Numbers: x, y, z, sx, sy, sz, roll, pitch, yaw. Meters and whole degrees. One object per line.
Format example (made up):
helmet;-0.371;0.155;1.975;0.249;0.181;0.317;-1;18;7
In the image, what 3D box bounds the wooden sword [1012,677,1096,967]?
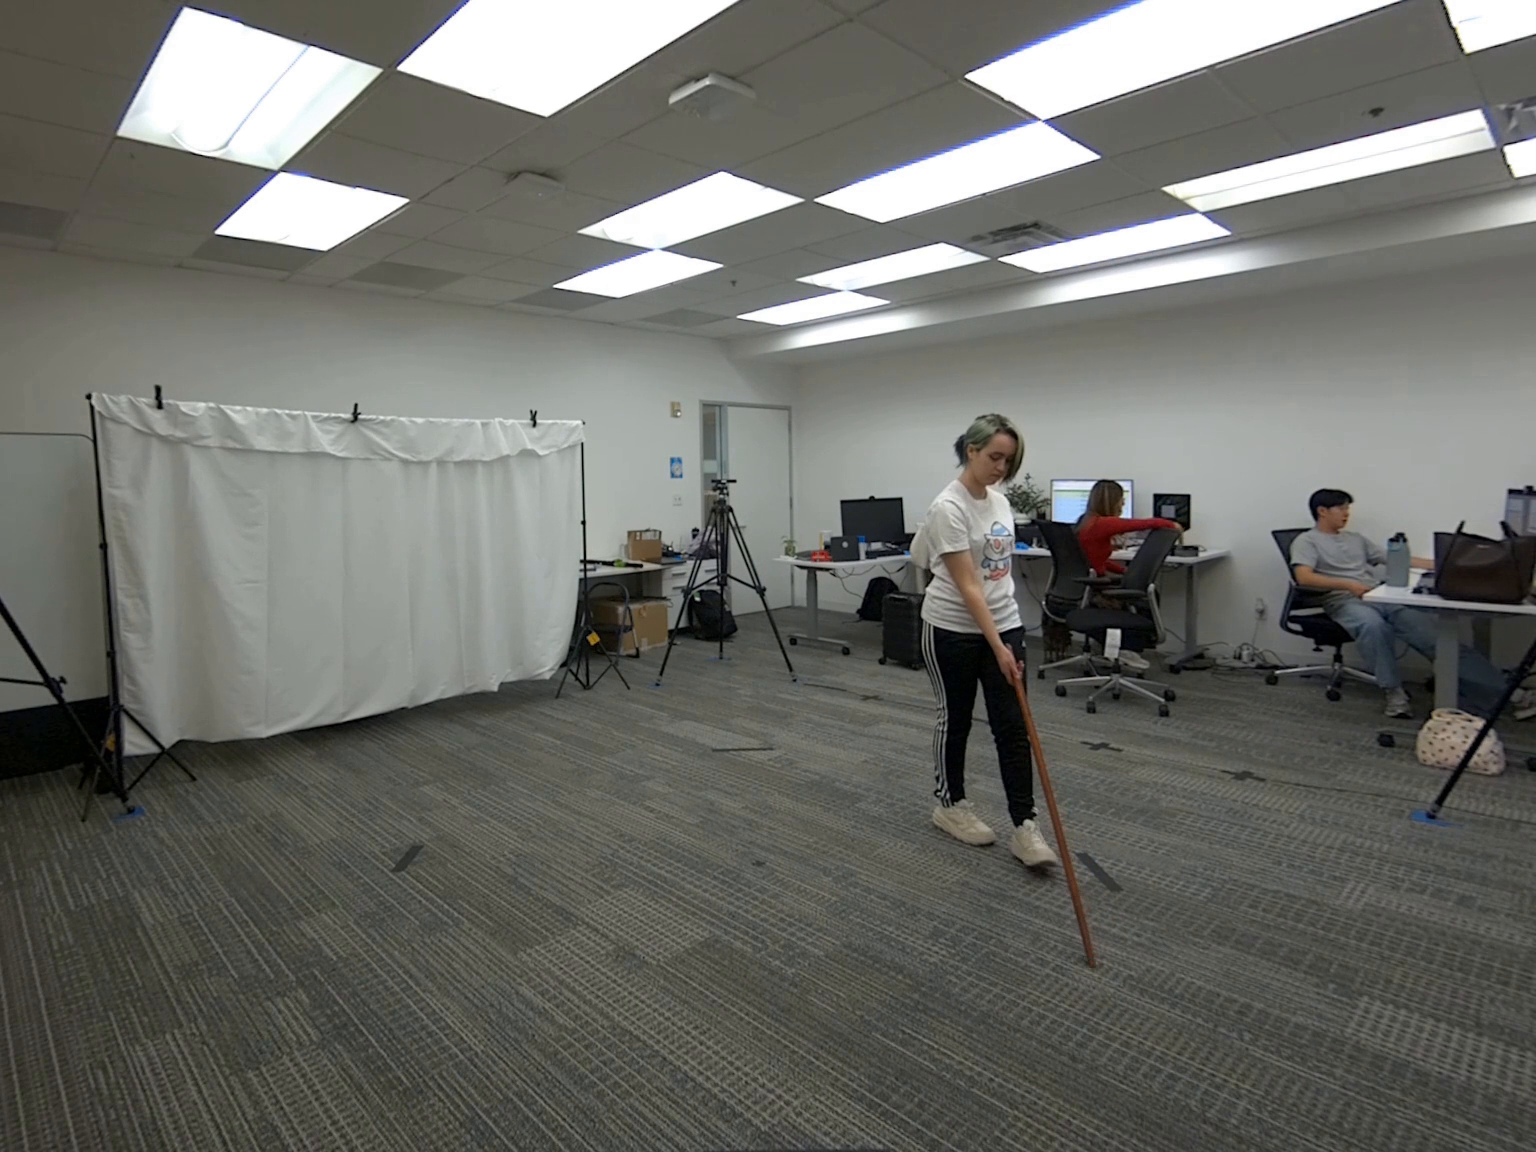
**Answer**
wooden sword;0.887;0.685;2.723;0.051;1.055;0.023;-13;-36;8
